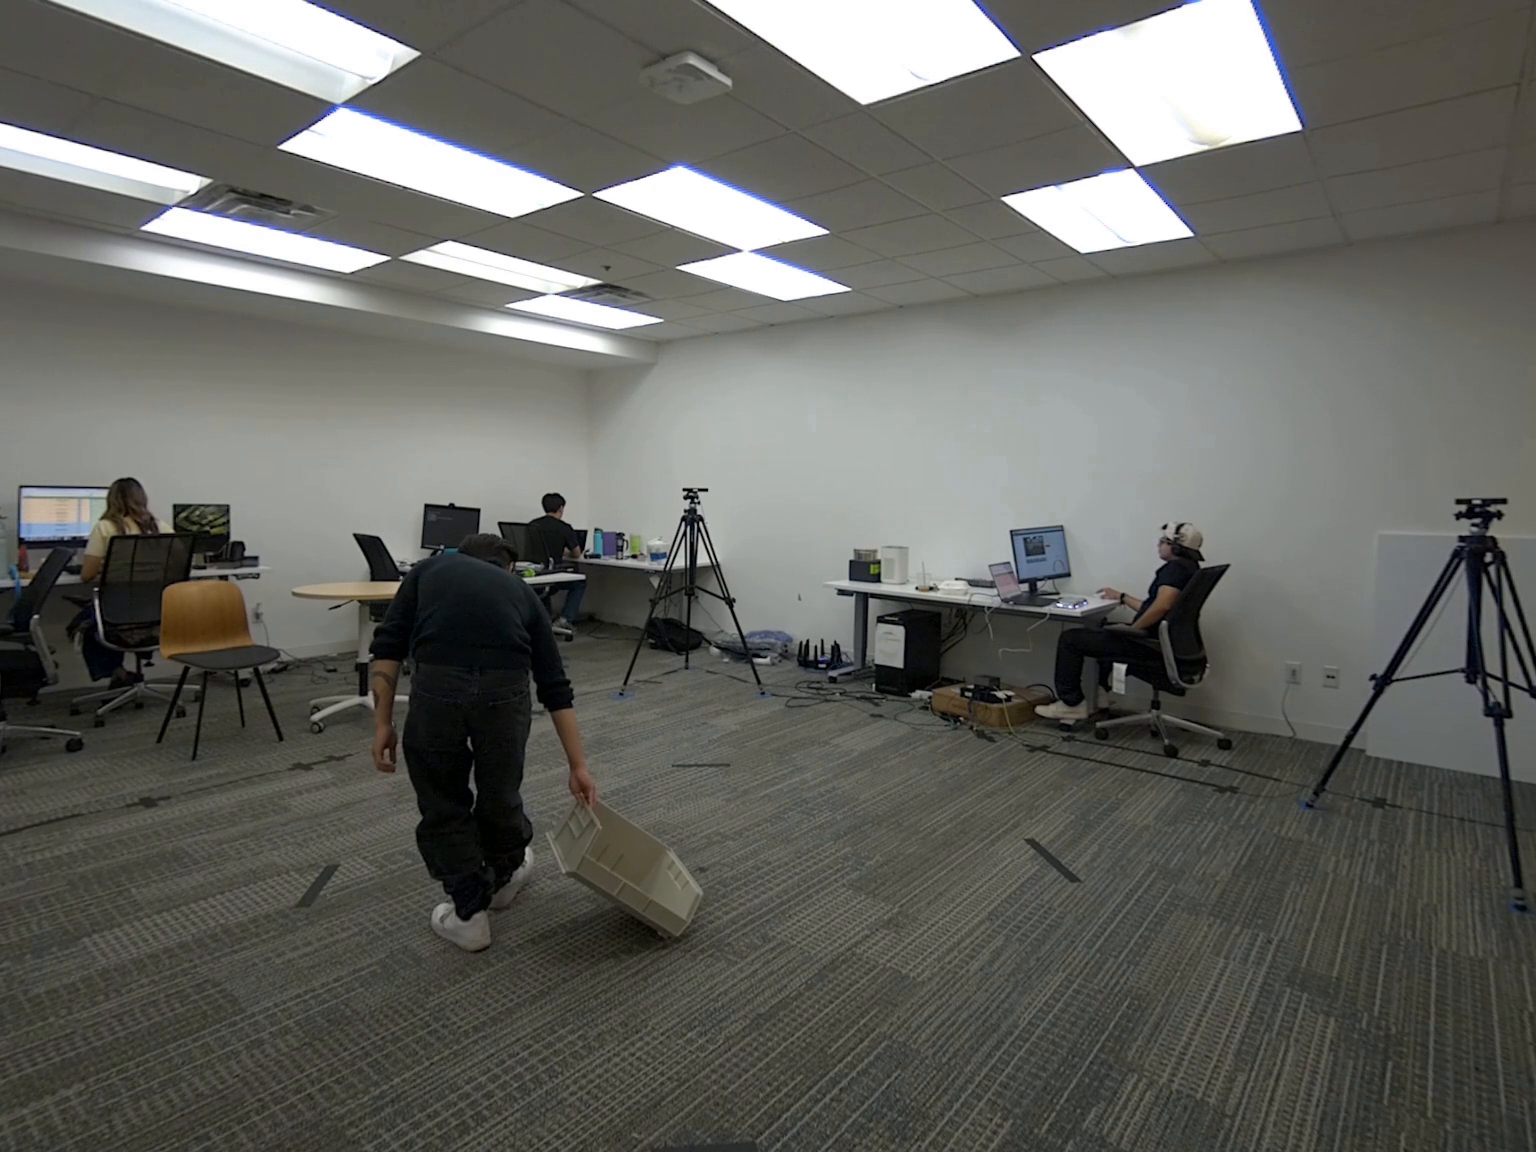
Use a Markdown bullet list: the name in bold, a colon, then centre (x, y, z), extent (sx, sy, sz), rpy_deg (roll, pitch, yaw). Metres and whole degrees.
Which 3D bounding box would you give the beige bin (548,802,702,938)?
- **beige bin**: centre (-0.470, 0.912, 2.687), extent (0.412, 0.189, 0.386), rpy_deg (40, -10, -19)
